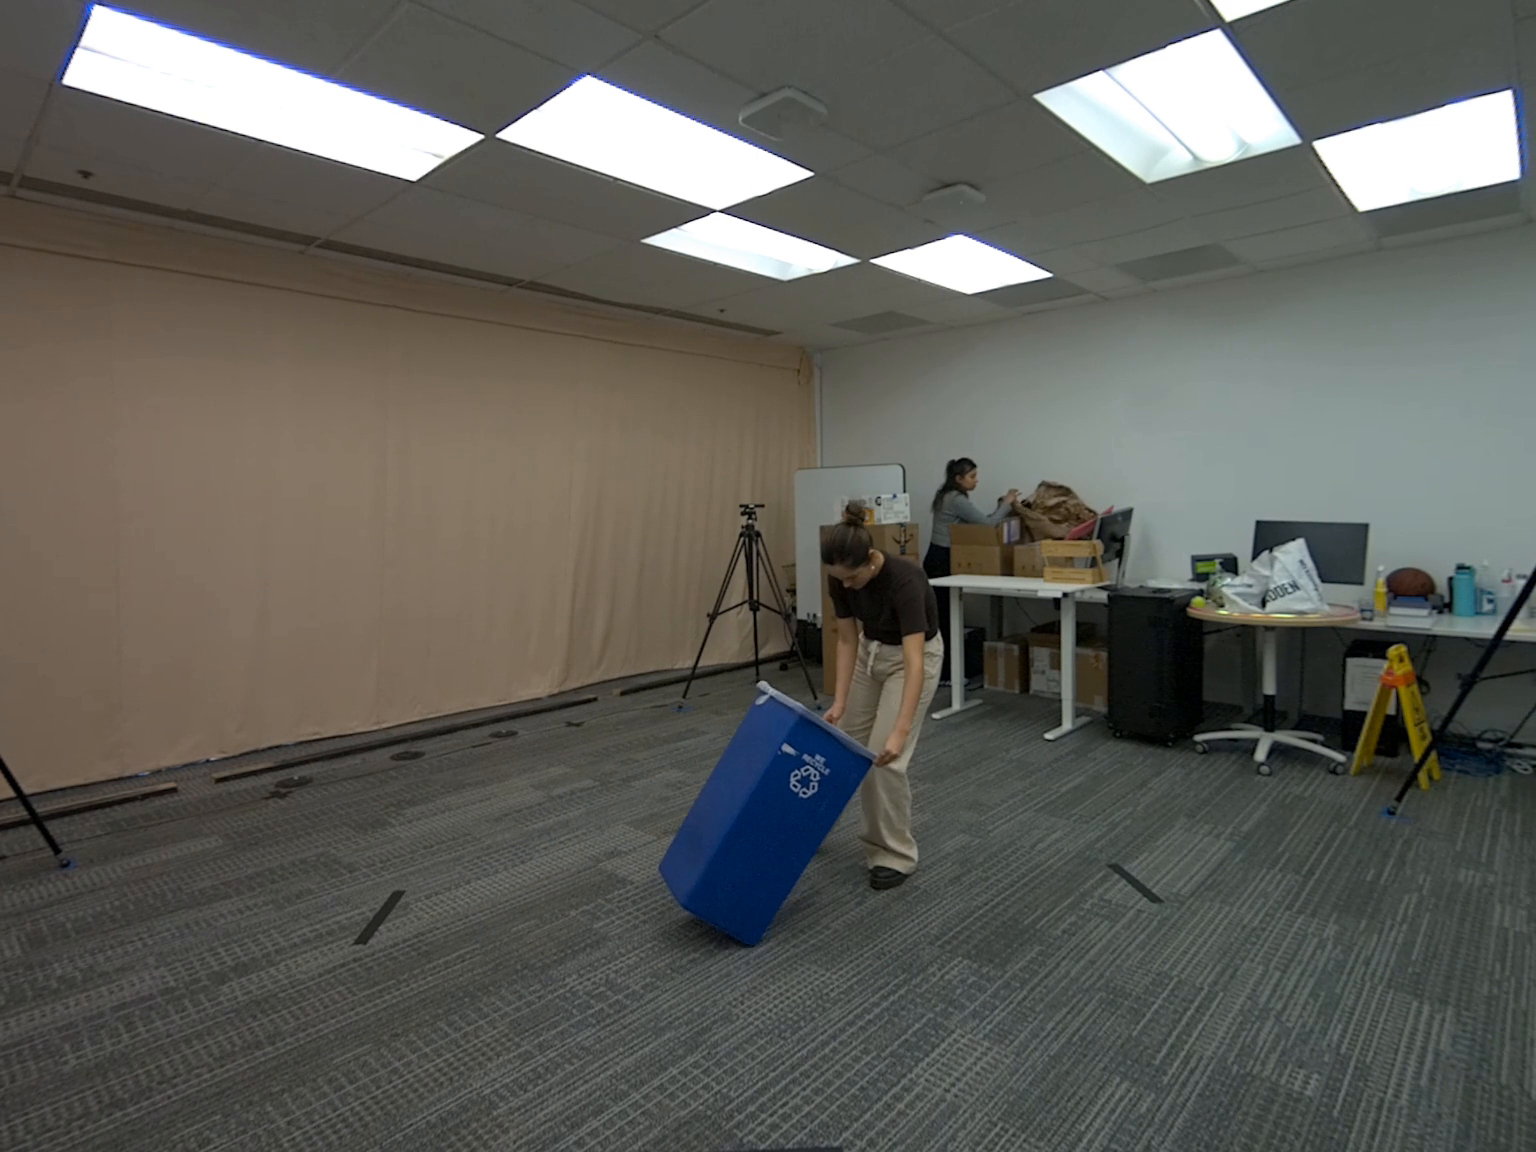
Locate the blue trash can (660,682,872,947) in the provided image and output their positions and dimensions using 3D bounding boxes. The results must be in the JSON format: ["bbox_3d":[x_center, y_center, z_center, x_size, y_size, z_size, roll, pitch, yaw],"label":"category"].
[{"bbox_3d":[-0.013,0.779,2.791,0.365,0.713,0.387,34,-7,-20],"label":"blue trash can"}]
